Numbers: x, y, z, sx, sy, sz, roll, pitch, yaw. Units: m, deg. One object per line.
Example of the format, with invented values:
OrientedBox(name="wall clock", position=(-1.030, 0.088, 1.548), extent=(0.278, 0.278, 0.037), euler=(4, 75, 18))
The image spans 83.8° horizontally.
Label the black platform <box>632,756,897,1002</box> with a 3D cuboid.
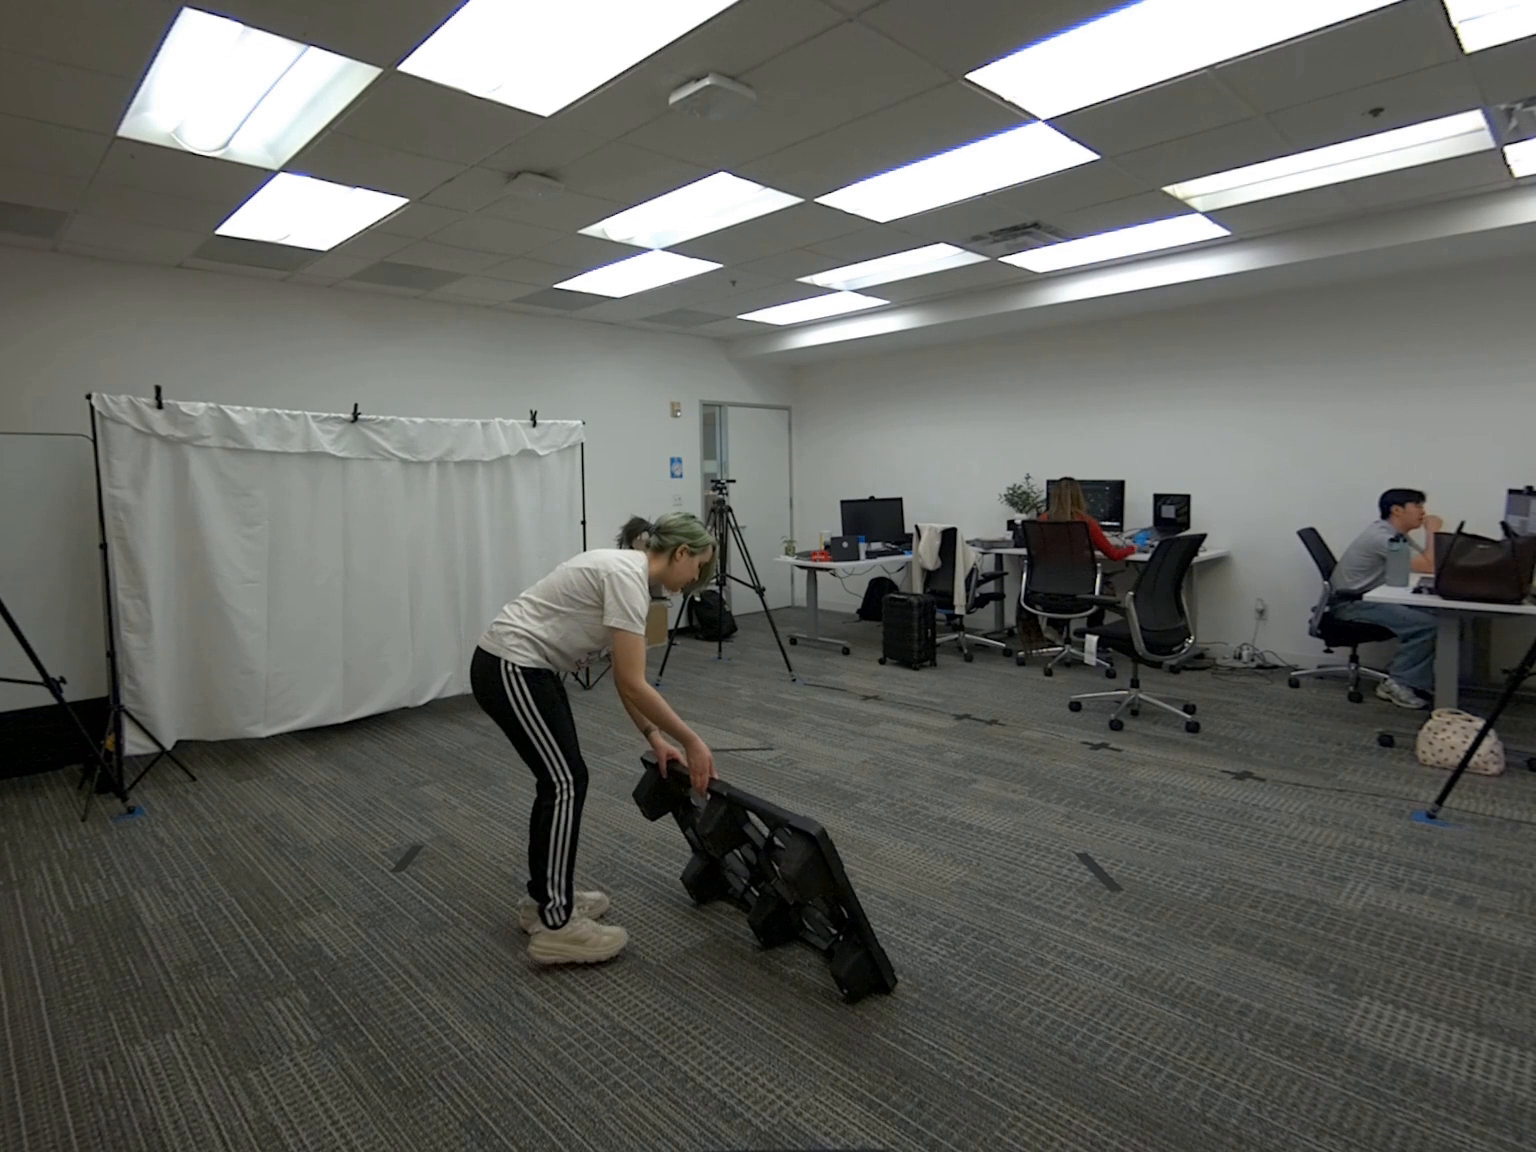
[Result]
OrientedBox(name="black platform", position=(-0.055, 0.870, 2.506), extent=(0.142, 0.591, 0.830), euler=(-37, 25, -31))
